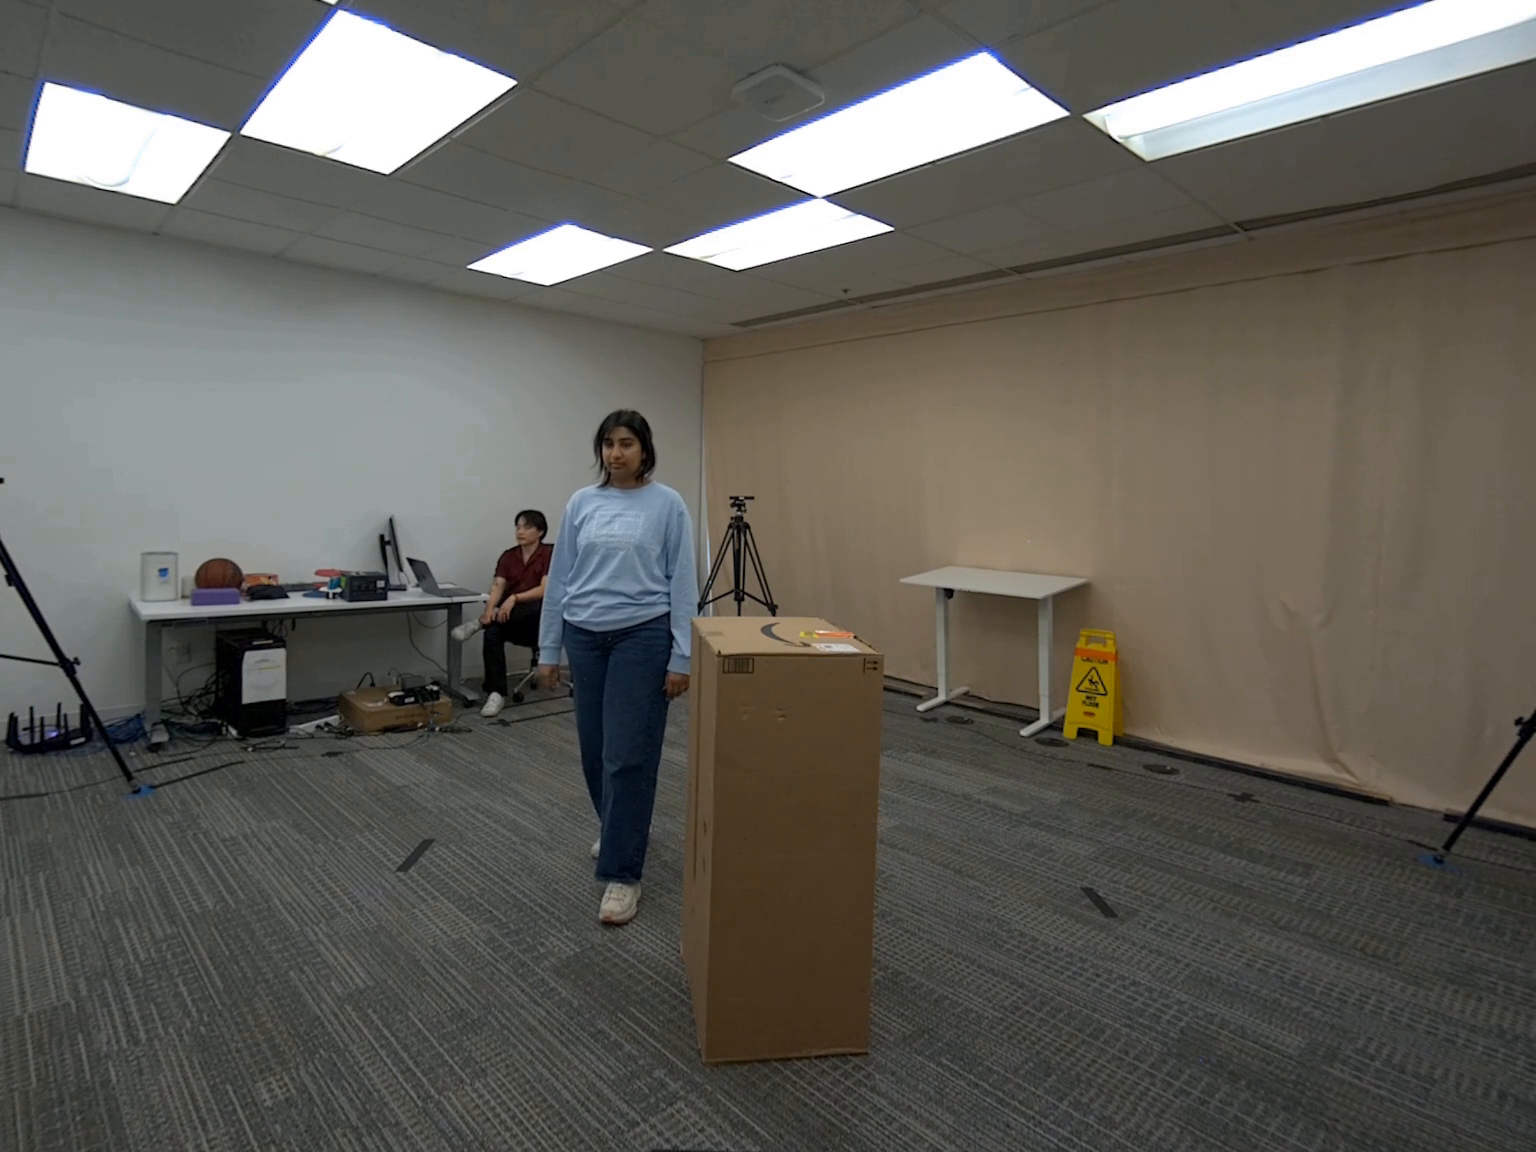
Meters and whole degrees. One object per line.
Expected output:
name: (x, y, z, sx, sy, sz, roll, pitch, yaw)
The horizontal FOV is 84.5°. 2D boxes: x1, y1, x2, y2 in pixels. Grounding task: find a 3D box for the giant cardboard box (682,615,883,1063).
giant cardboard box: (0.009, 0.671, 2.339, 0.422, 1.023, 0.584, 1, 4, -12)
